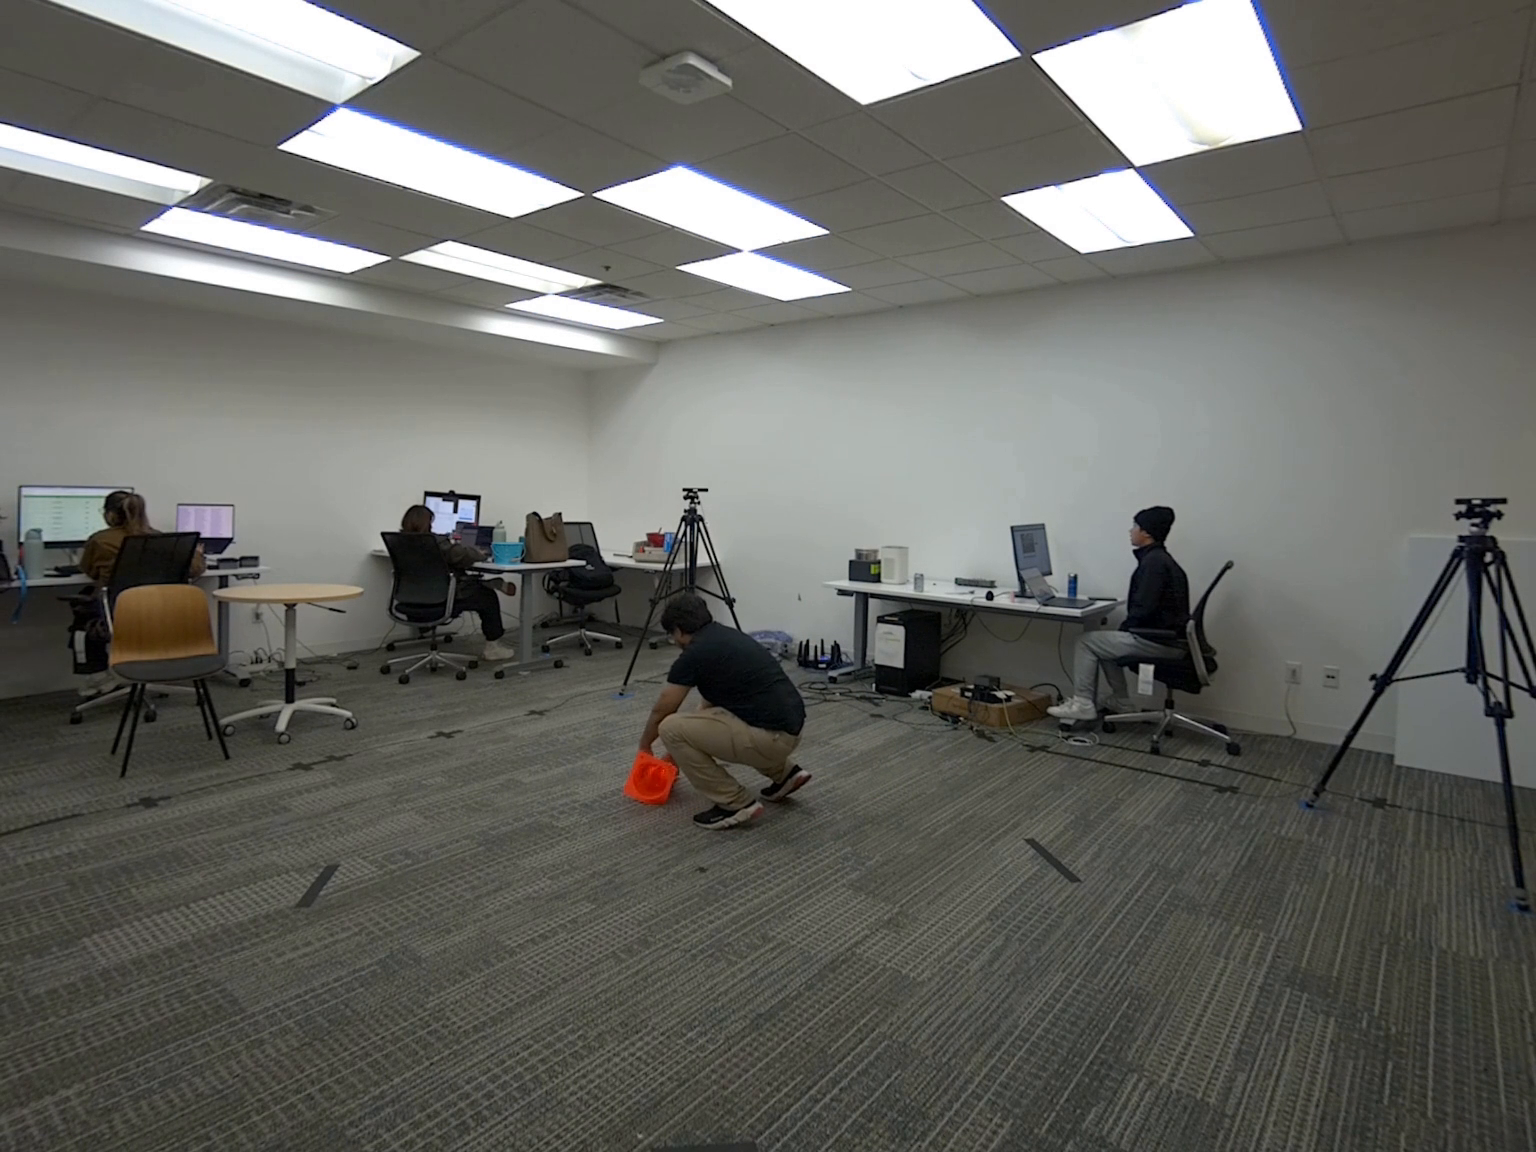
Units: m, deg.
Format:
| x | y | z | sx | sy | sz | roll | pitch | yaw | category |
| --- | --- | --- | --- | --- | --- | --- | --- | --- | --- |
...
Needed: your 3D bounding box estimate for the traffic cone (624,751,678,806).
| x | y | z | sx | sy | sz | roll | pitch | yaw | category |
| --- | --- | --- | --- | --- | --- | --- | --- | --- | --- |
| -0.493 | 0.932 | 3.952 | 0.209 | 0.204 | 0.375 | 17 | -5 | 14 | traffic cone |
